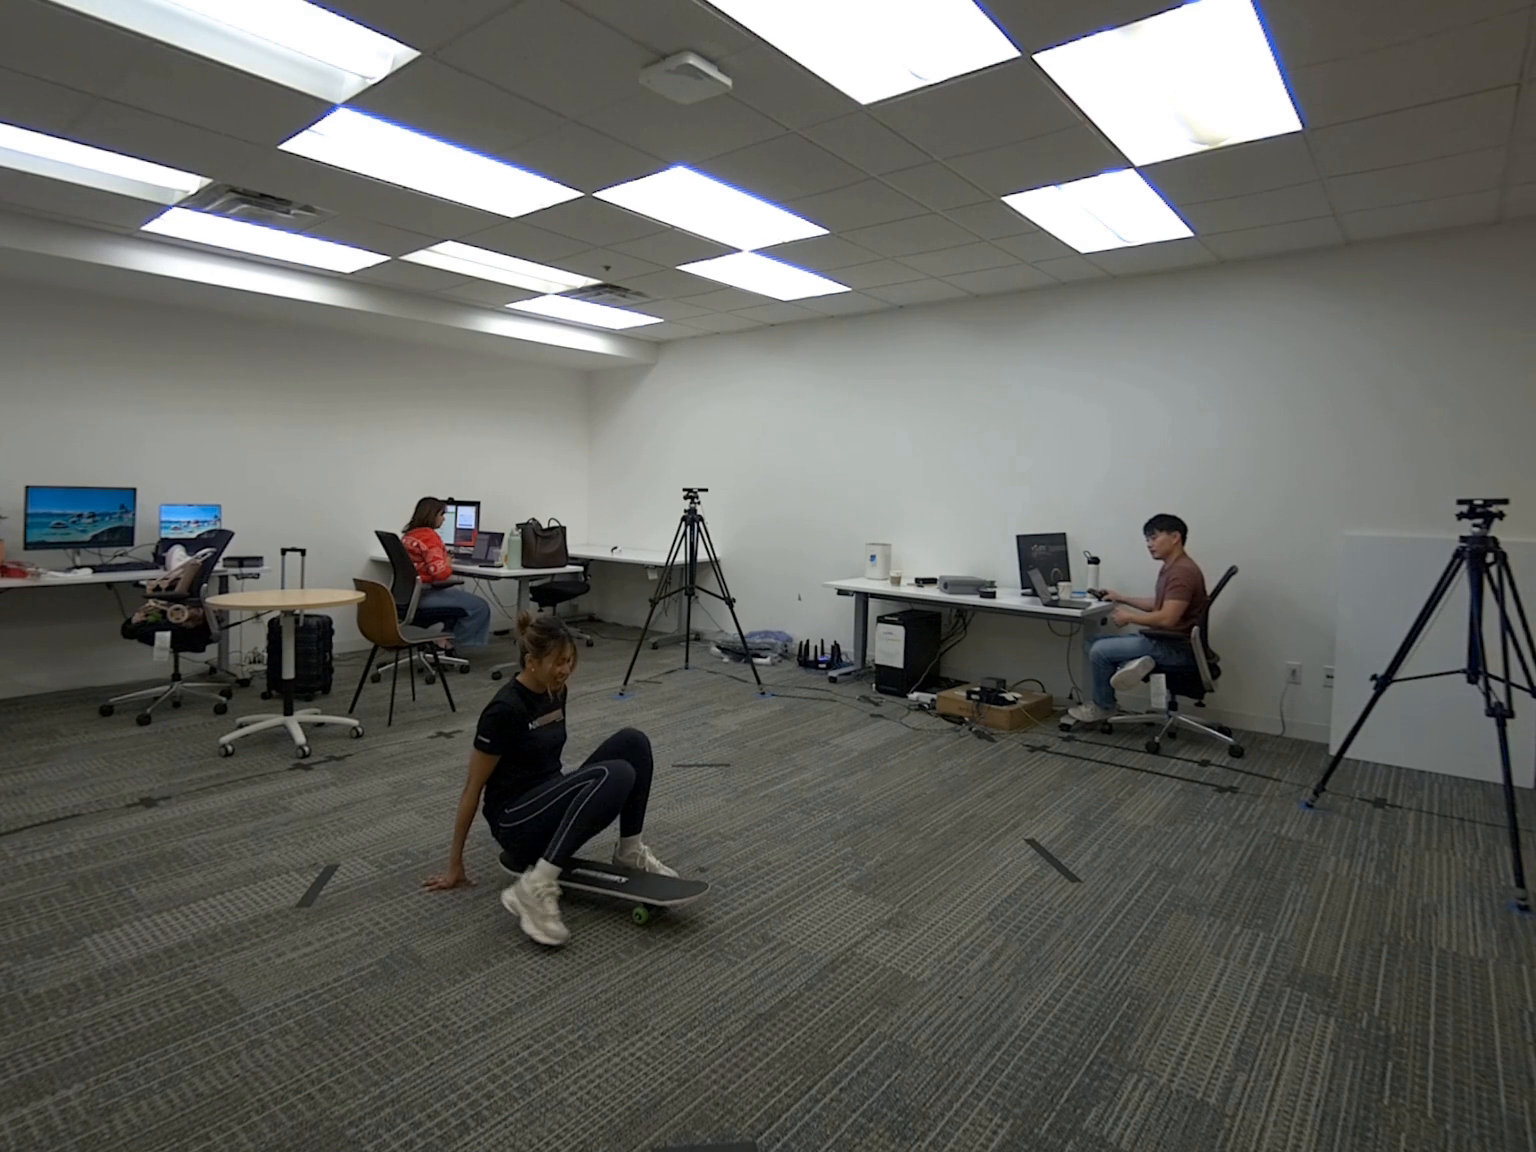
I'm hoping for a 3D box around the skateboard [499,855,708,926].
[{"bbox_3d":[-0.572,1.034,2.832,0.804,0.110,0.189,1,3,23],"label":"skateboard"}]
